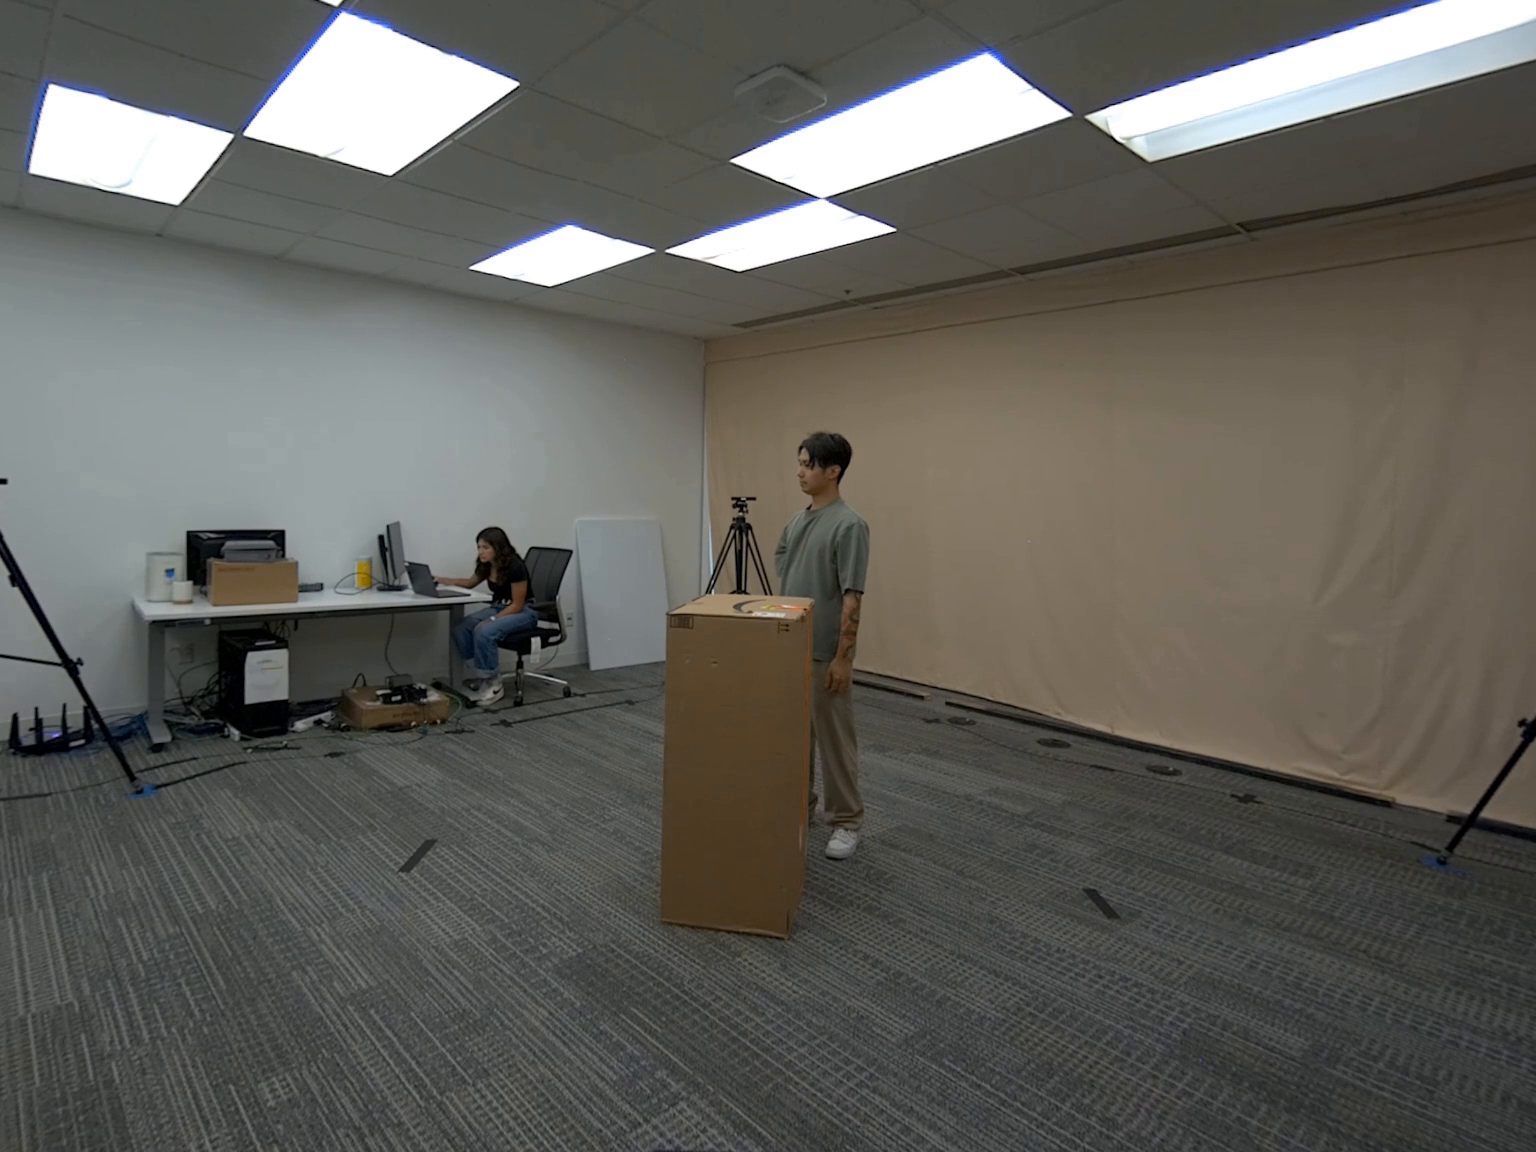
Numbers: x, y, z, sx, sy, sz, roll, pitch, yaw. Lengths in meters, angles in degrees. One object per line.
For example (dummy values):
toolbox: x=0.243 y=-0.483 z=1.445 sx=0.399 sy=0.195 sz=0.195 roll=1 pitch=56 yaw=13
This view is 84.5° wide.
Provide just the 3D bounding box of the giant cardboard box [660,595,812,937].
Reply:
giant cardboard box: x=-0.092 y=0.613 z=2.953 sx=0.430 sy=1.023 sz=0.574 roll=2 pitch=3 yaw=9
